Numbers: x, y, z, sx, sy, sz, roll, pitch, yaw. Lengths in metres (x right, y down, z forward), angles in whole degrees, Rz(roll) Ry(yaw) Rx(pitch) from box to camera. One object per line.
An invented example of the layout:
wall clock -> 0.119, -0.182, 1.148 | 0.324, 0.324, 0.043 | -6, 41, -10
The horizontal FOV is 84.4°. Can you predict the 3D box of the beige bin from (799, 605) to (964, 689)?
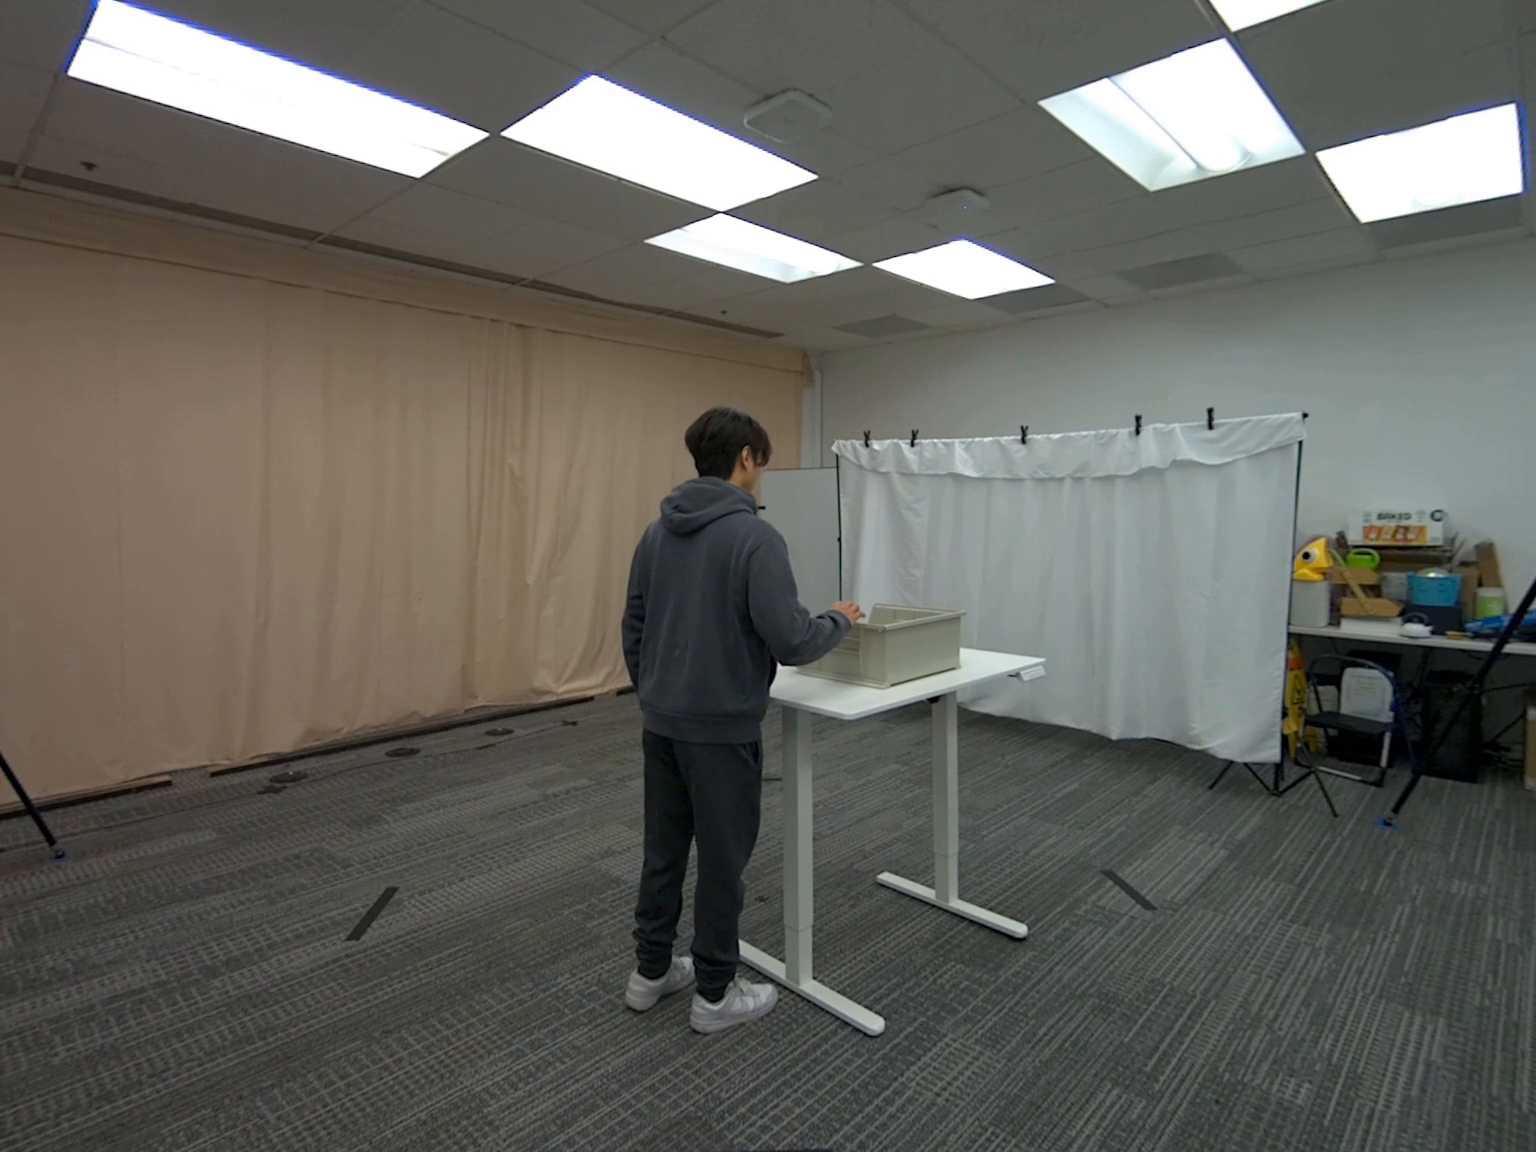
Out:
beige bin -> 0.336, 0.203, 2.590 | 0.409, 0.188, 0.390 | -5, 7, -44
